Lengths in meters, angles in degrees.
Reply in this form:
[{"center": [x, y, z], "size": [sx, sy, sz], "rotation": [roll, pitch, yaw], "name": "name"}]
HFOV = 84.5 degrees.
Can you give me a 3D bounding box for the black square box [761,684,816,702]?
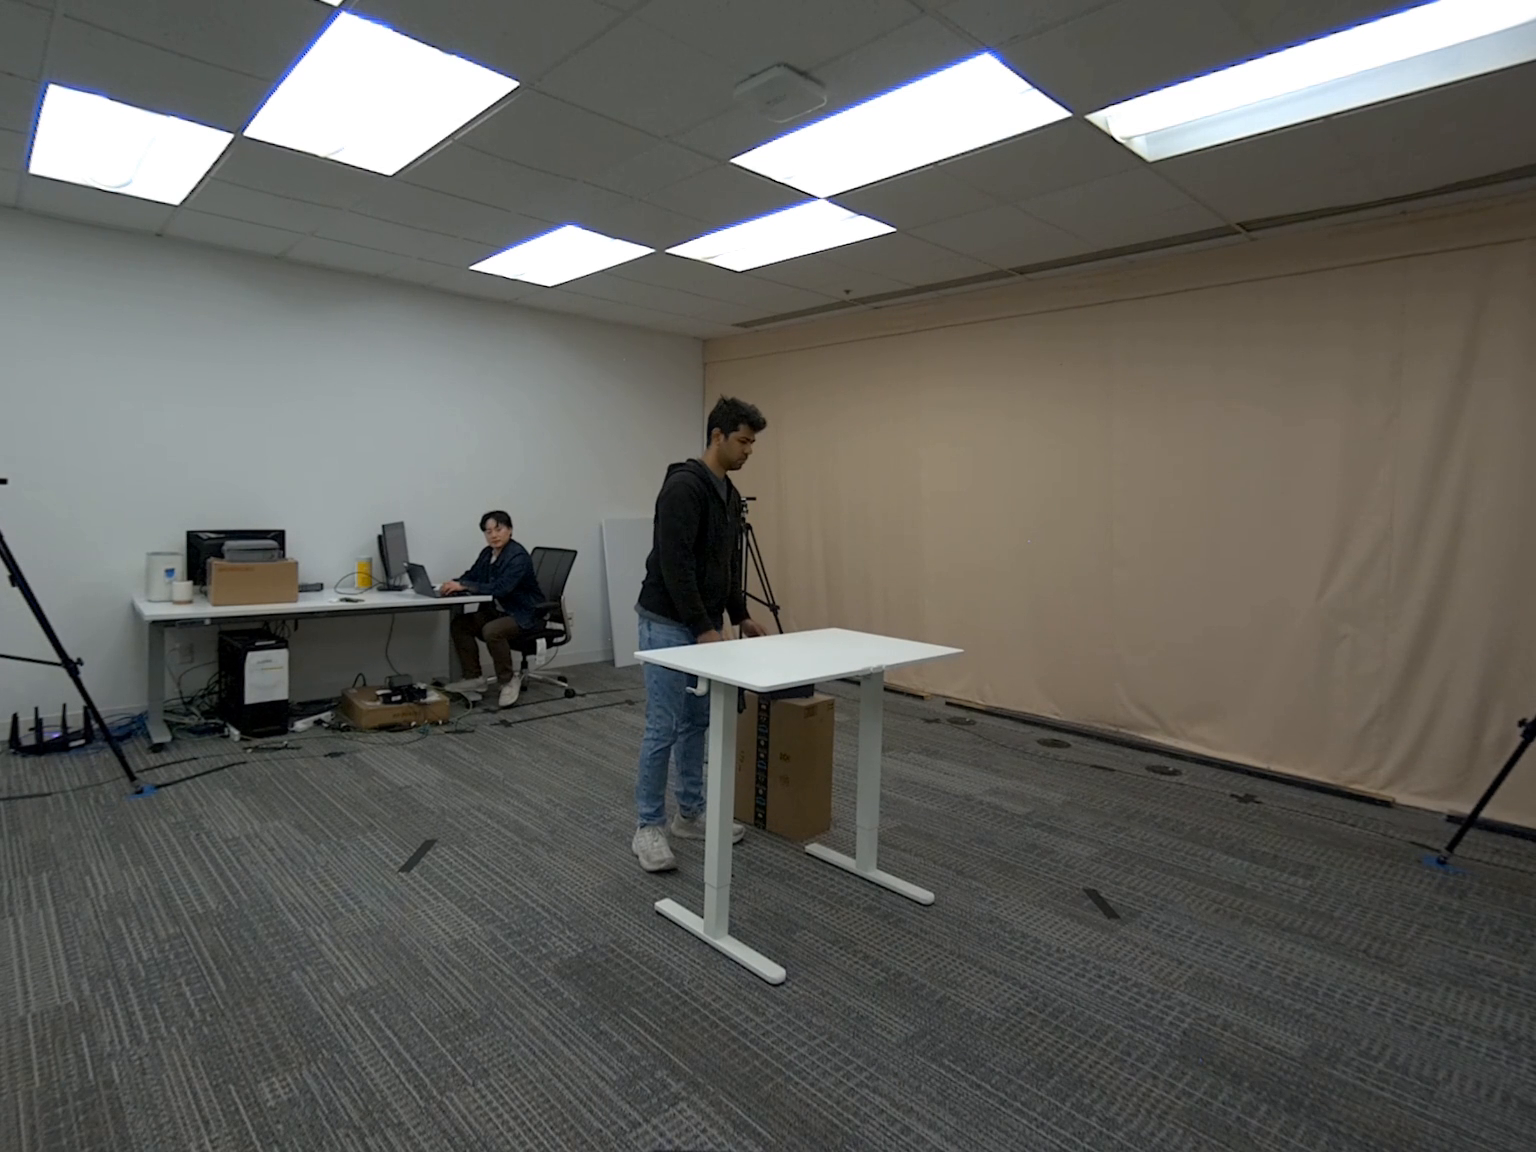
[{"center": [0.050, 0.426, 3.615], "size": [0.213, 0.155, 0.233], "rotation": [-2, 5, -29], "name": "black square box"}]
